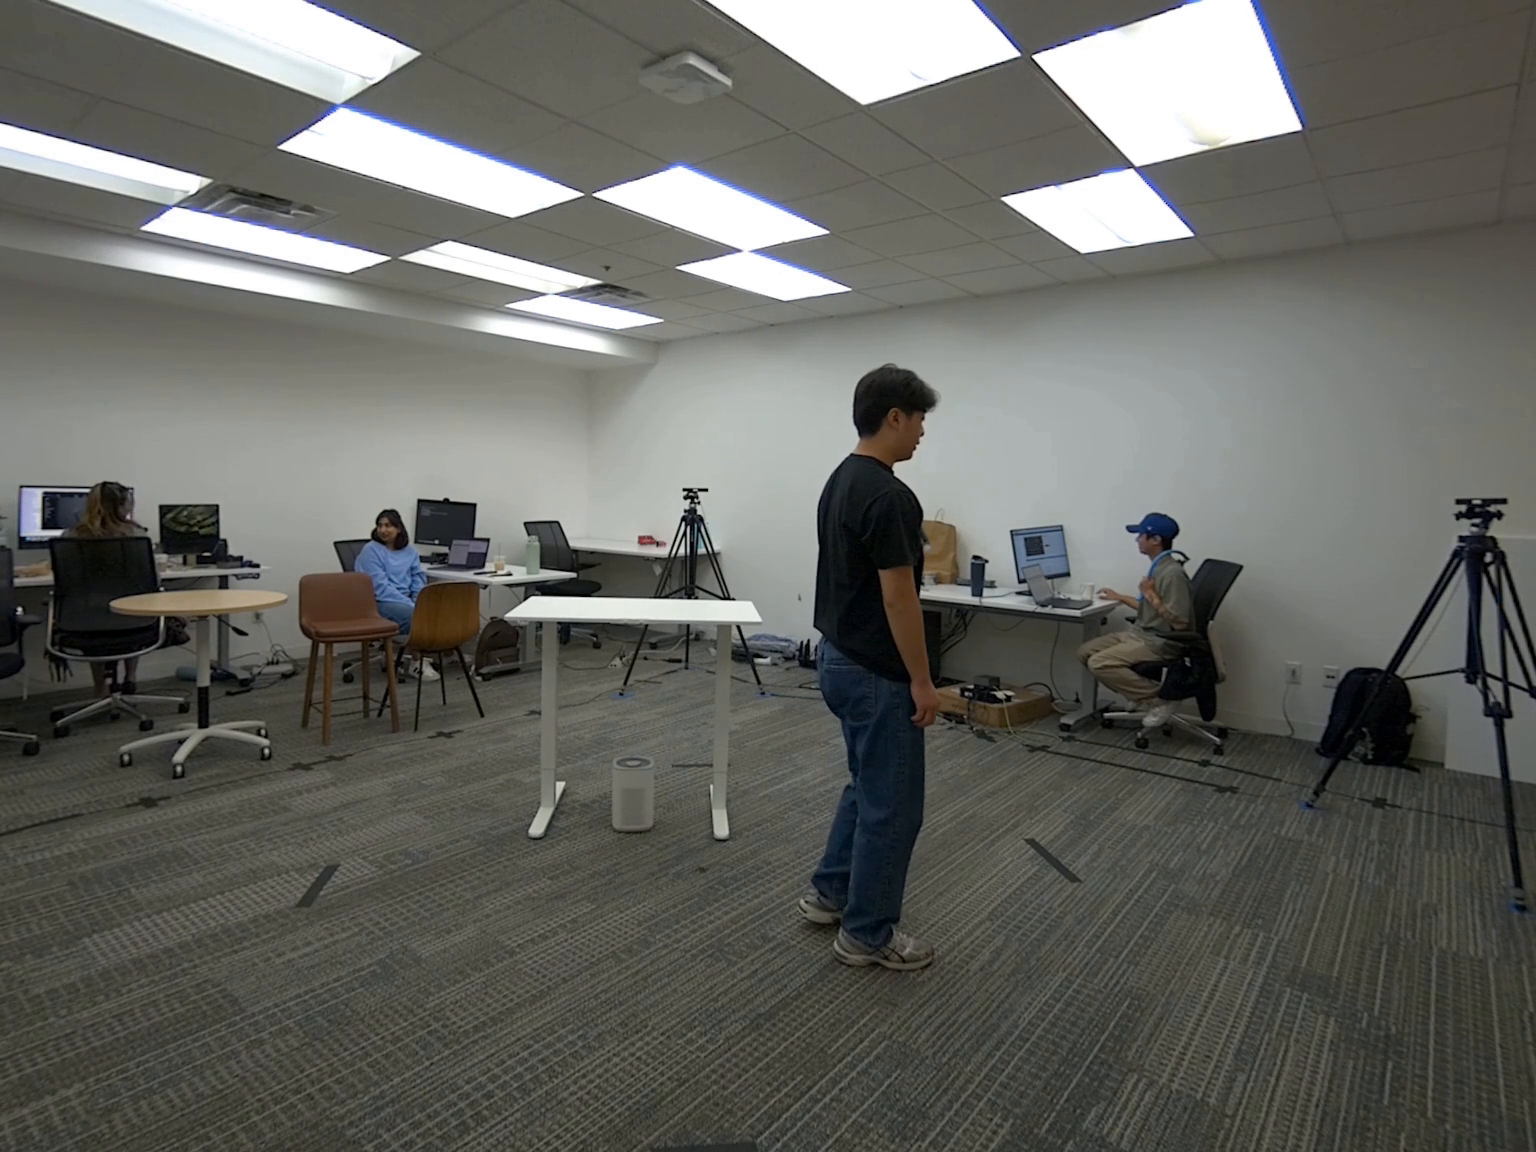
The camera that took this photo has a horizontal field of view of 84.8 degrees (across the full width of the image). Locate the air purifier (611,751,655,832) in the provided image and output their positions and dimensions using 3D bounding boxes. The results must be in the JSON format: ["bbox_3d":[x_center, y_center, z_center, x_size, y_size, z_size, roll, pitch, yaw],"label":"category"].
[{"bbox_3d":[-0.564,0.890,3.490,0.170,0.264,0.173,-1,4,-9],"label":"air purifier"}]
